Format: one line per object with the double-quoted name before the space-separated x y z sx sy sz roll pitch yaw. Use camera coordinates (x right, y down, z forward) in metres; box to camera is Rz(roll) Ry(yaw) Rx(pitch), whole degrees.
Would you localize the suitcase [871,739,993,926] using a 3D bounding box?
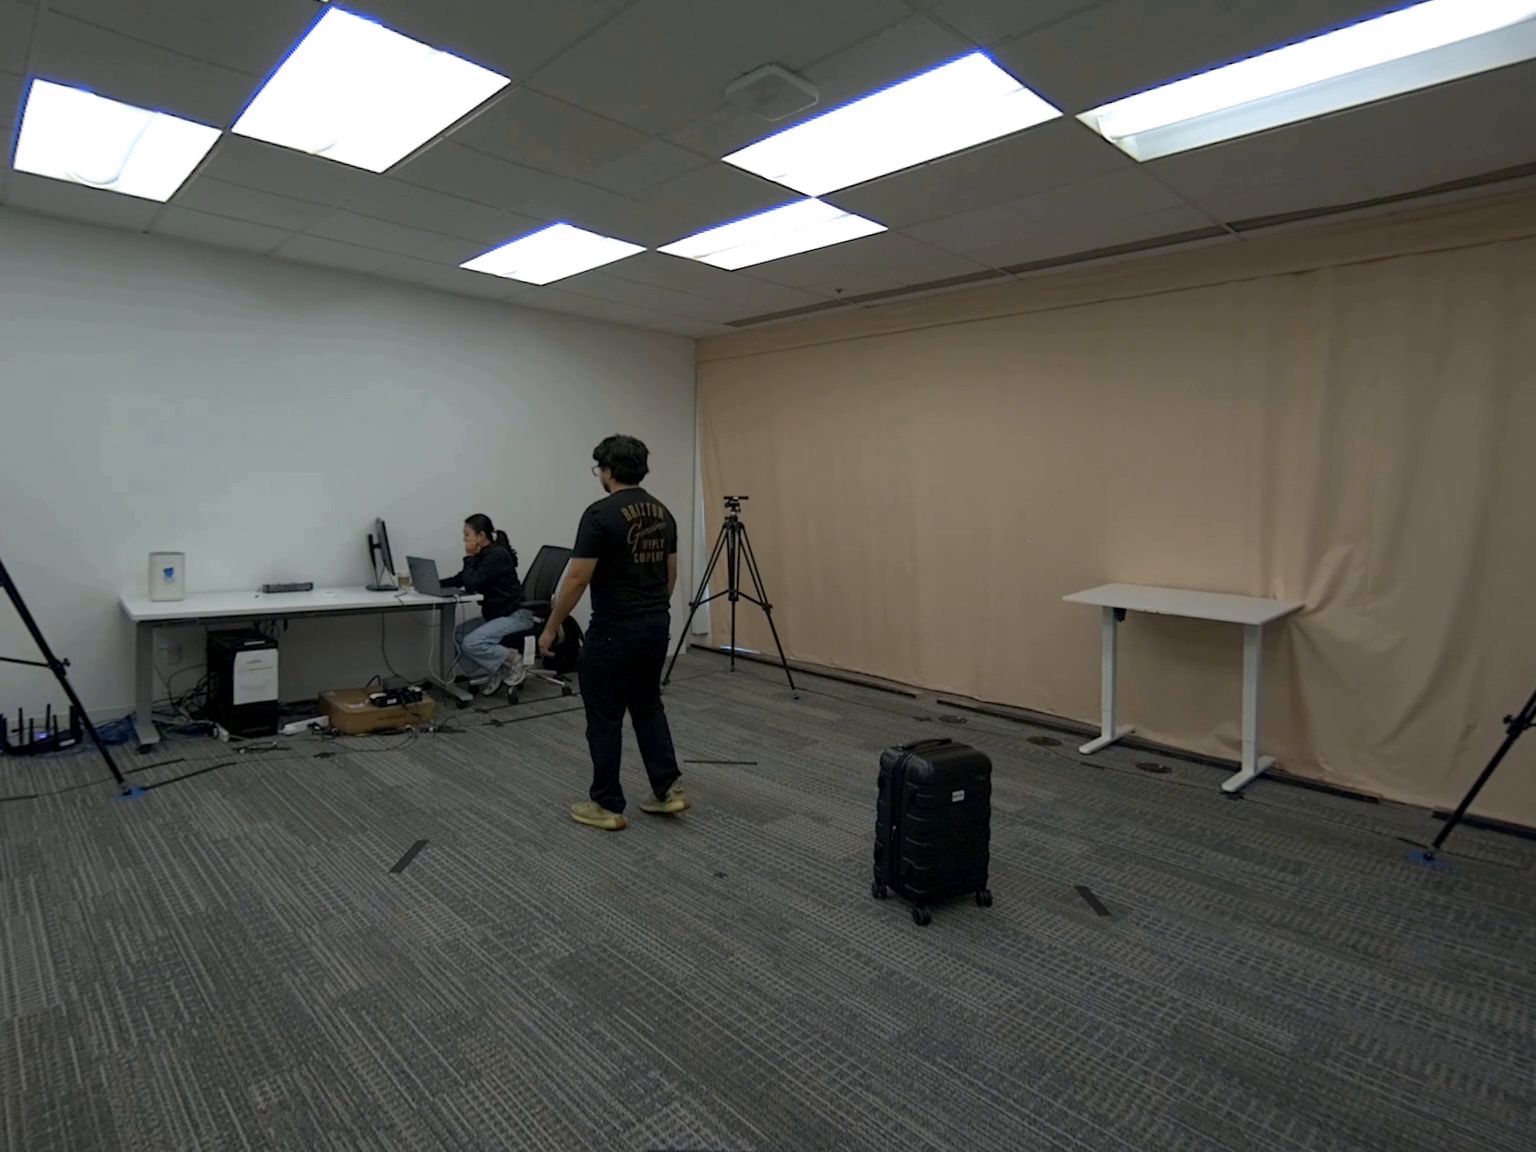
"suitcase" 0.574 0.863 2.938 0.367 0.548 0.254 -1 3 -32
